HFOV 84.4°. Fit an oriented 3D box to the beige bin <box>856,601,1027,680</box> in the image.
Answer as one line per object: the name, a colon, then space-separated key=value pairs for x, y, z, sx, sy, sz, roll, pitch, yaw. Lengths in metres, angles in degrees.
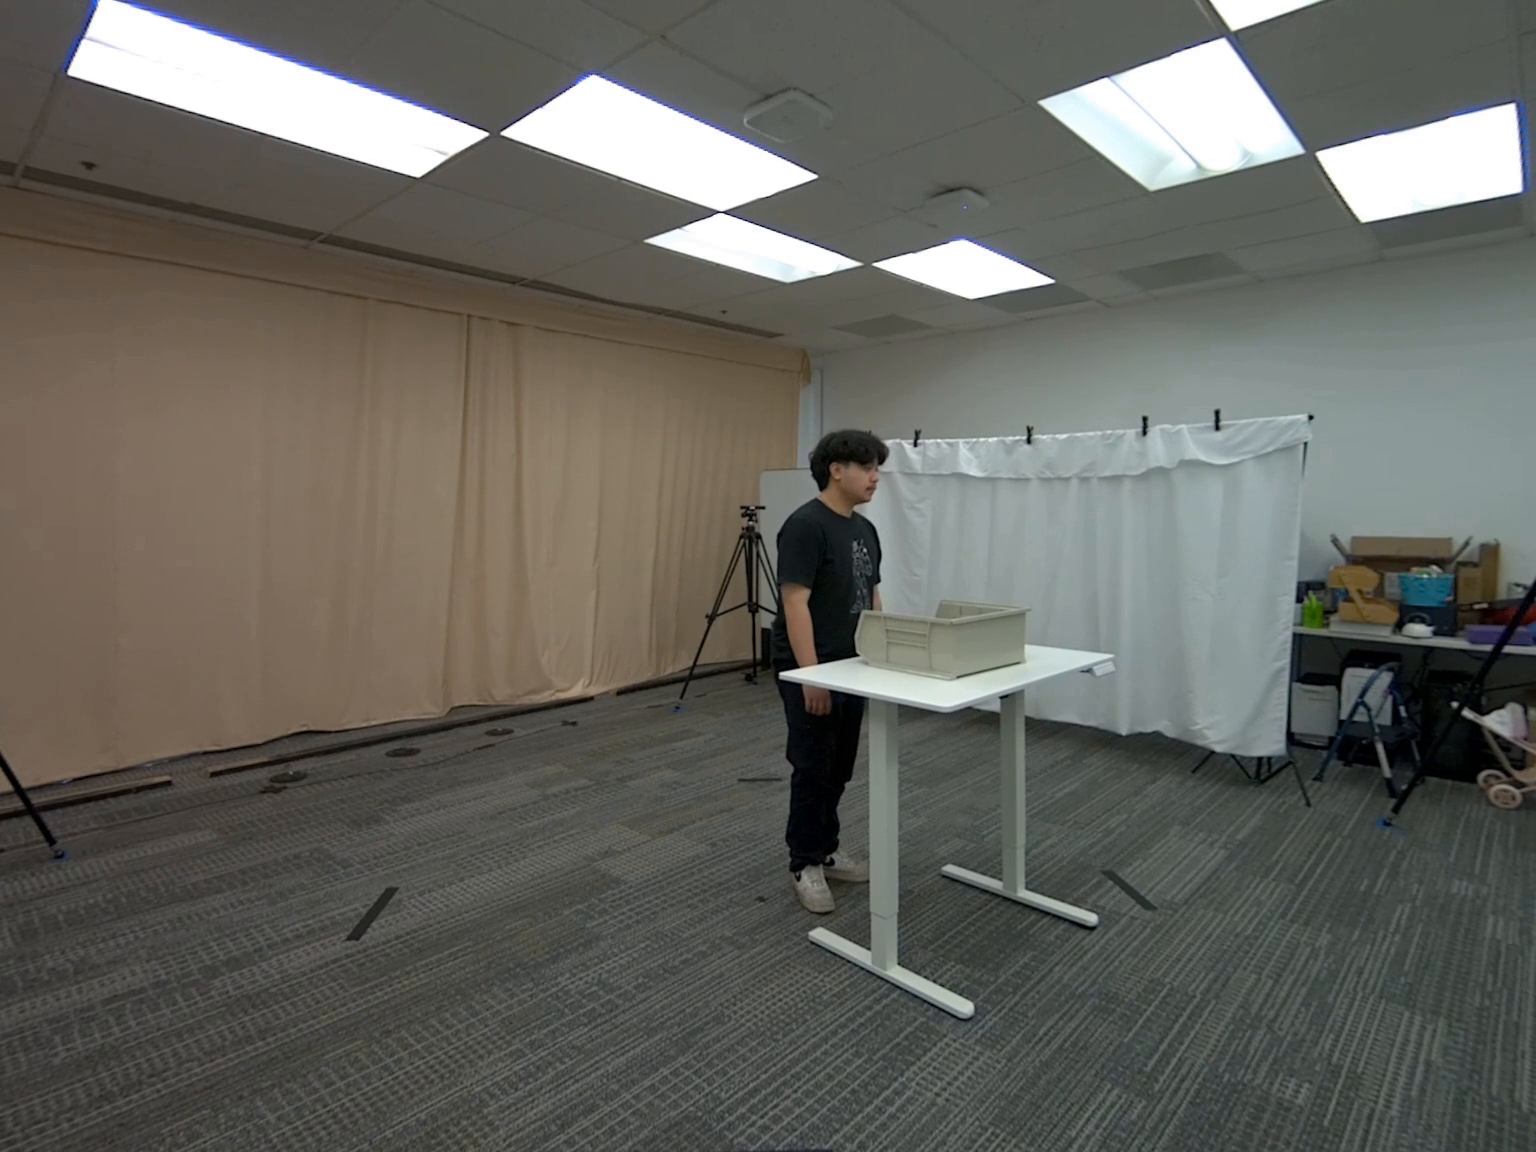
beige bin: x=0.565 y=0.196 z=2.702 sx=0.409 sy=0.188 sz=0.390 roll=-4 pitch=6 yaw=-40
